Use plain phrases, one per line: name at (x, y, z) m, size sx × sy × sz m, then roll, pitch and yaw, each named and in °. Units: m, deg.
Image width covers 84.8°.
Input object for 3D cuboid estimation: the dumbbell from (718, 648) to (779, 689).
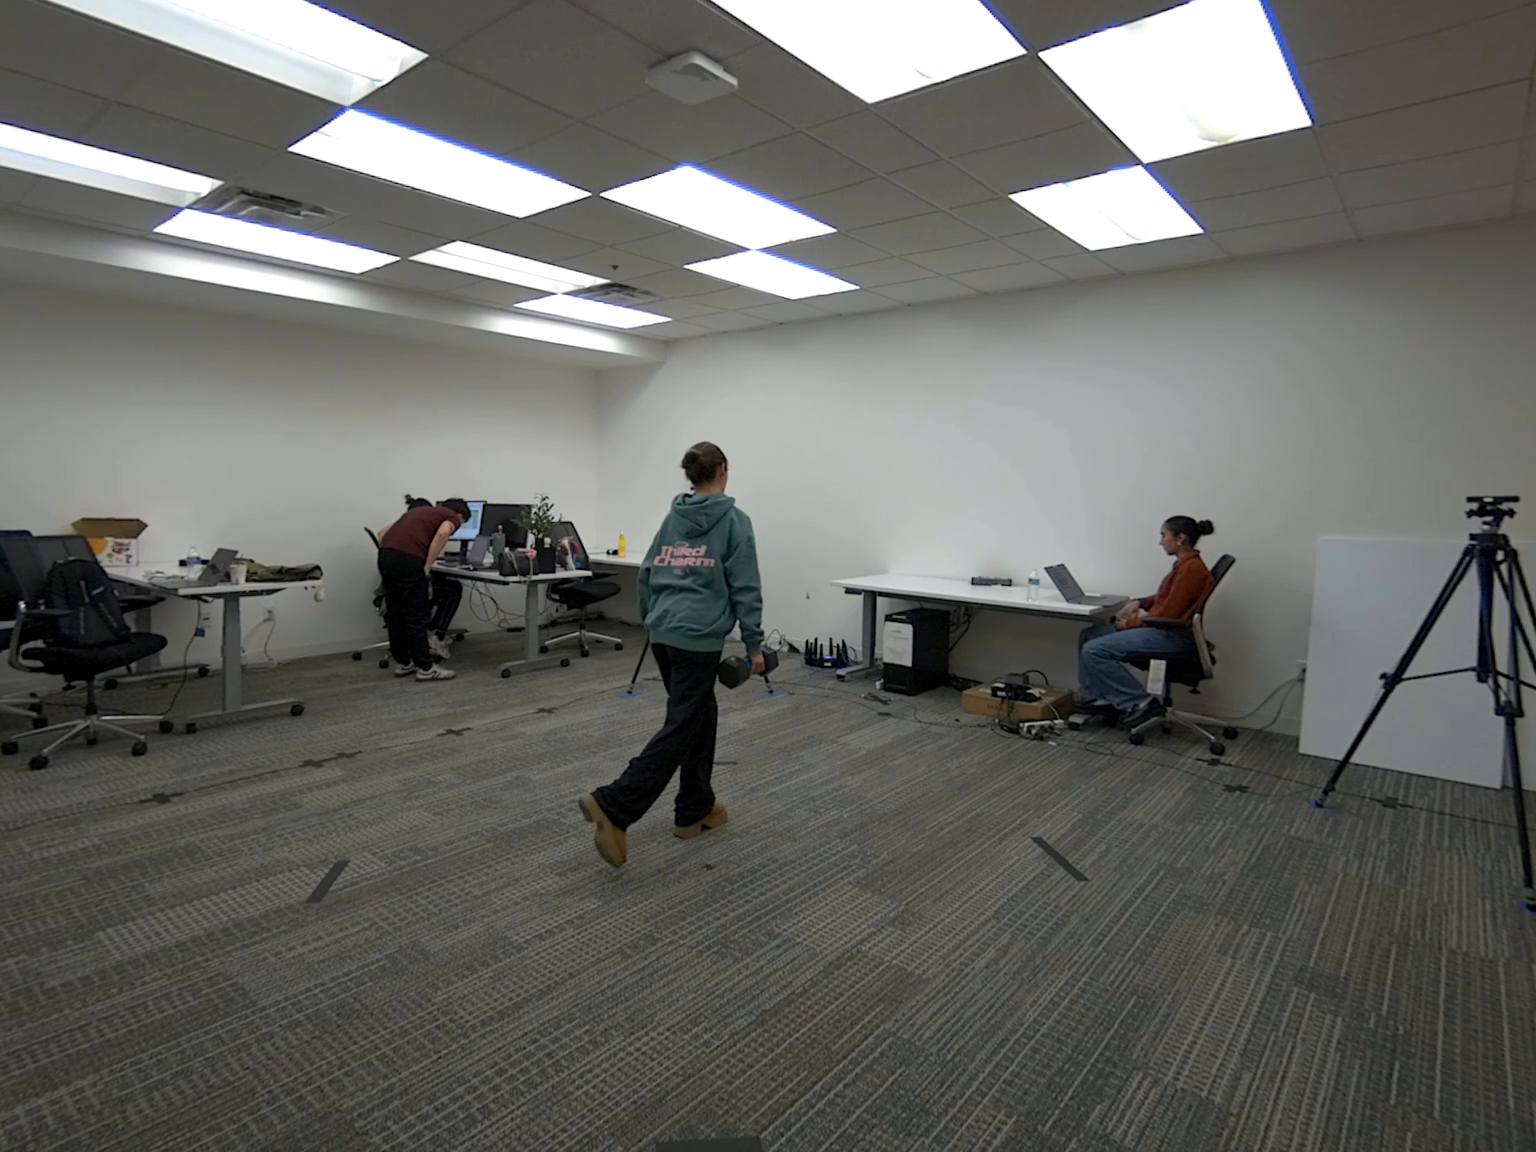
dumbbell at (-0.089, 0.360, 3.346) m, size 0.123 × 0.111 × 0.286 m, roll -43°, pitch -17°, yaw 32°
